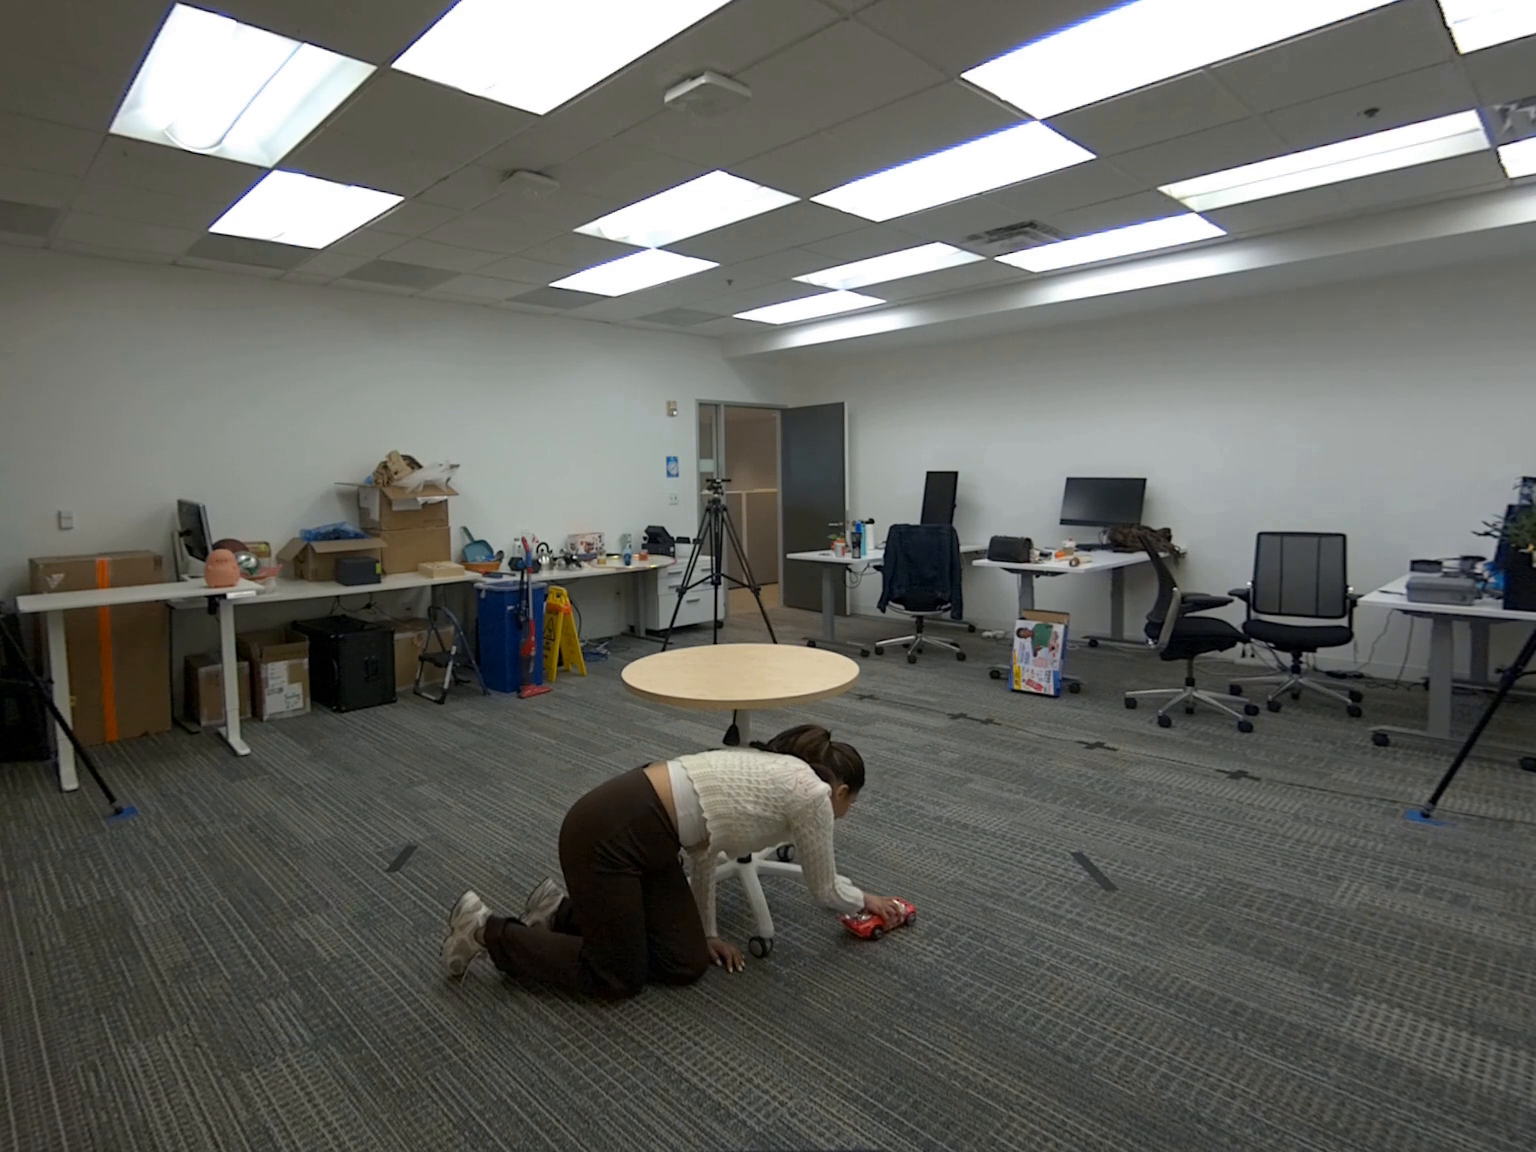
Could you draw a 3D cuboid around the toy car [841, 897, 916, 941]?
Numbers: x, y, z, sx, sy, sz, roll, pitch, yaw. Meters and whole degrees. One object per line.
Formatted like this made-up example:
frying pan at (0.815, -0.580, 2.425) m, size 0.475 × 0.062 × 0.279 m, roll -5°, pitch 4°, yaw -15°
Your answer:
toy car at (0.335, 1.049, 2.646) m, size 0.247 × 0.083 × 0.134 m, roll 7°, pitch 3°, yaw -34°
